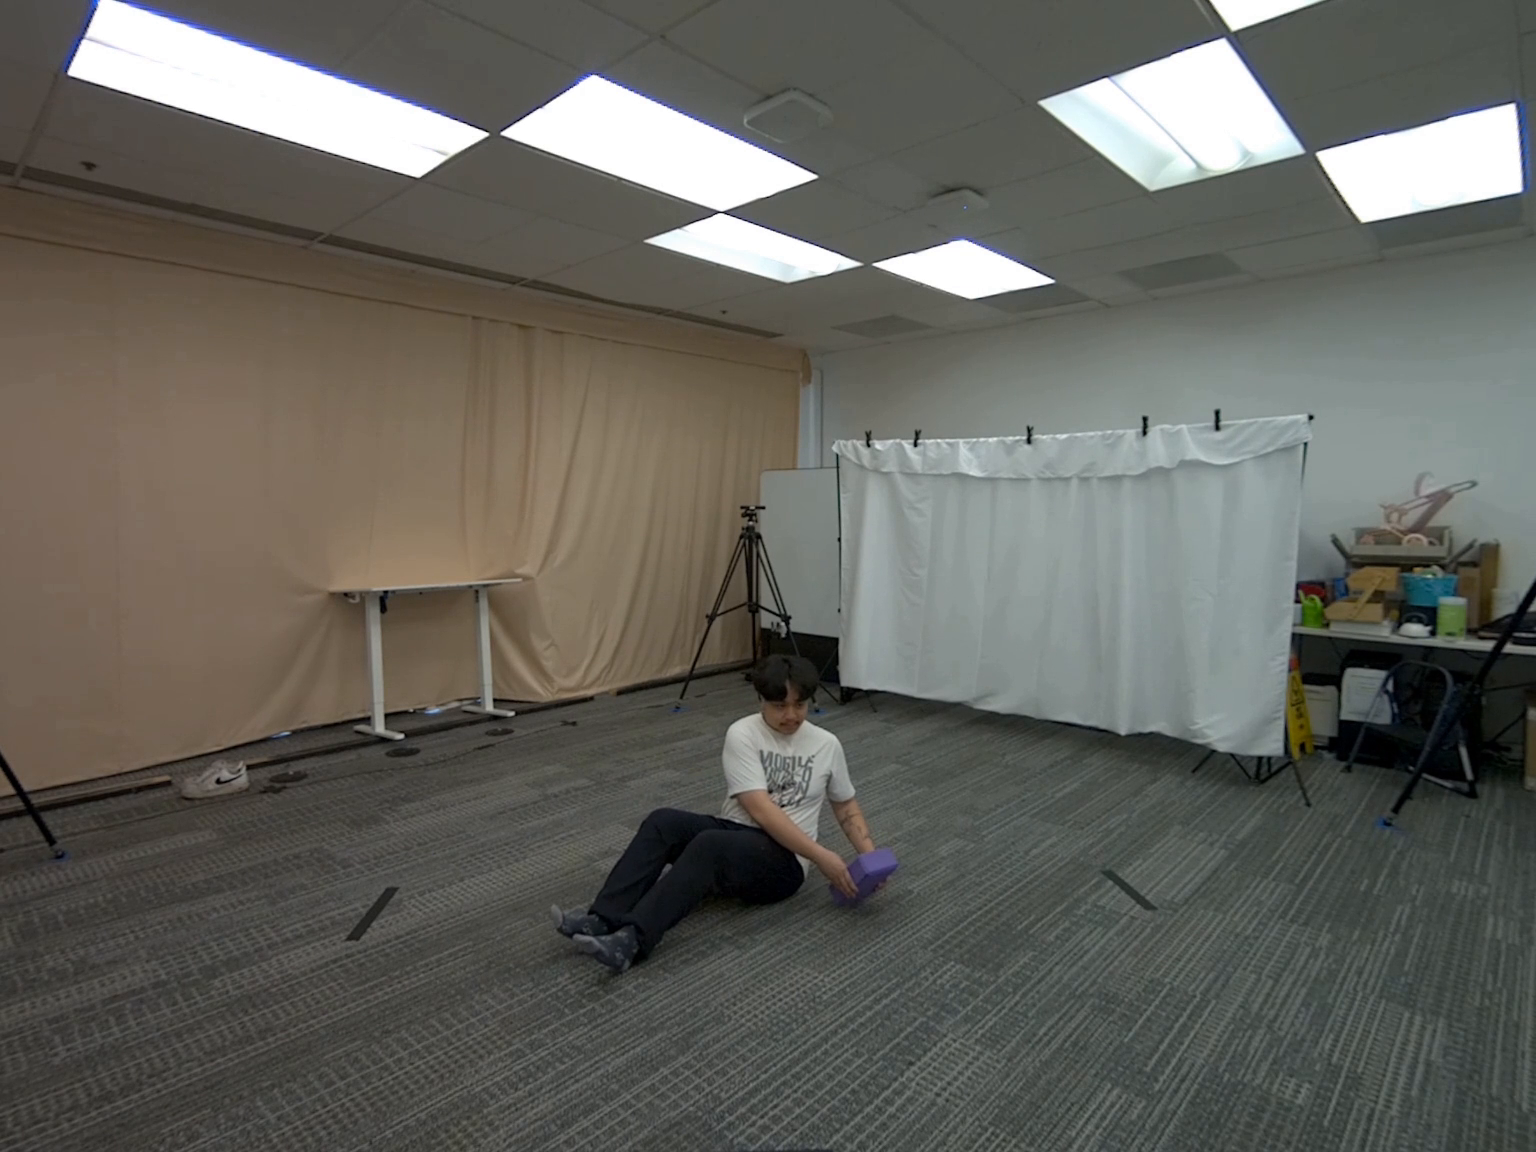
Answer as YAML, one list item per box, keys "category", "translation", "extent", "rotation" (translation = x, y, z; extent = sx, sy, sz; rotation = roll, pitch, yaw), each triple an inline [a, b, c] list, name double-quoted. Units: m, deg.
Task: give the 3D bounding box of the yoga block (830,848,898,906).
- category: "yoga block"
  translation: [0.327, 1.028, 2.861]
  extent: [0.144, 0.229, 0.079]
  rotation: [-1, 46, -36]
